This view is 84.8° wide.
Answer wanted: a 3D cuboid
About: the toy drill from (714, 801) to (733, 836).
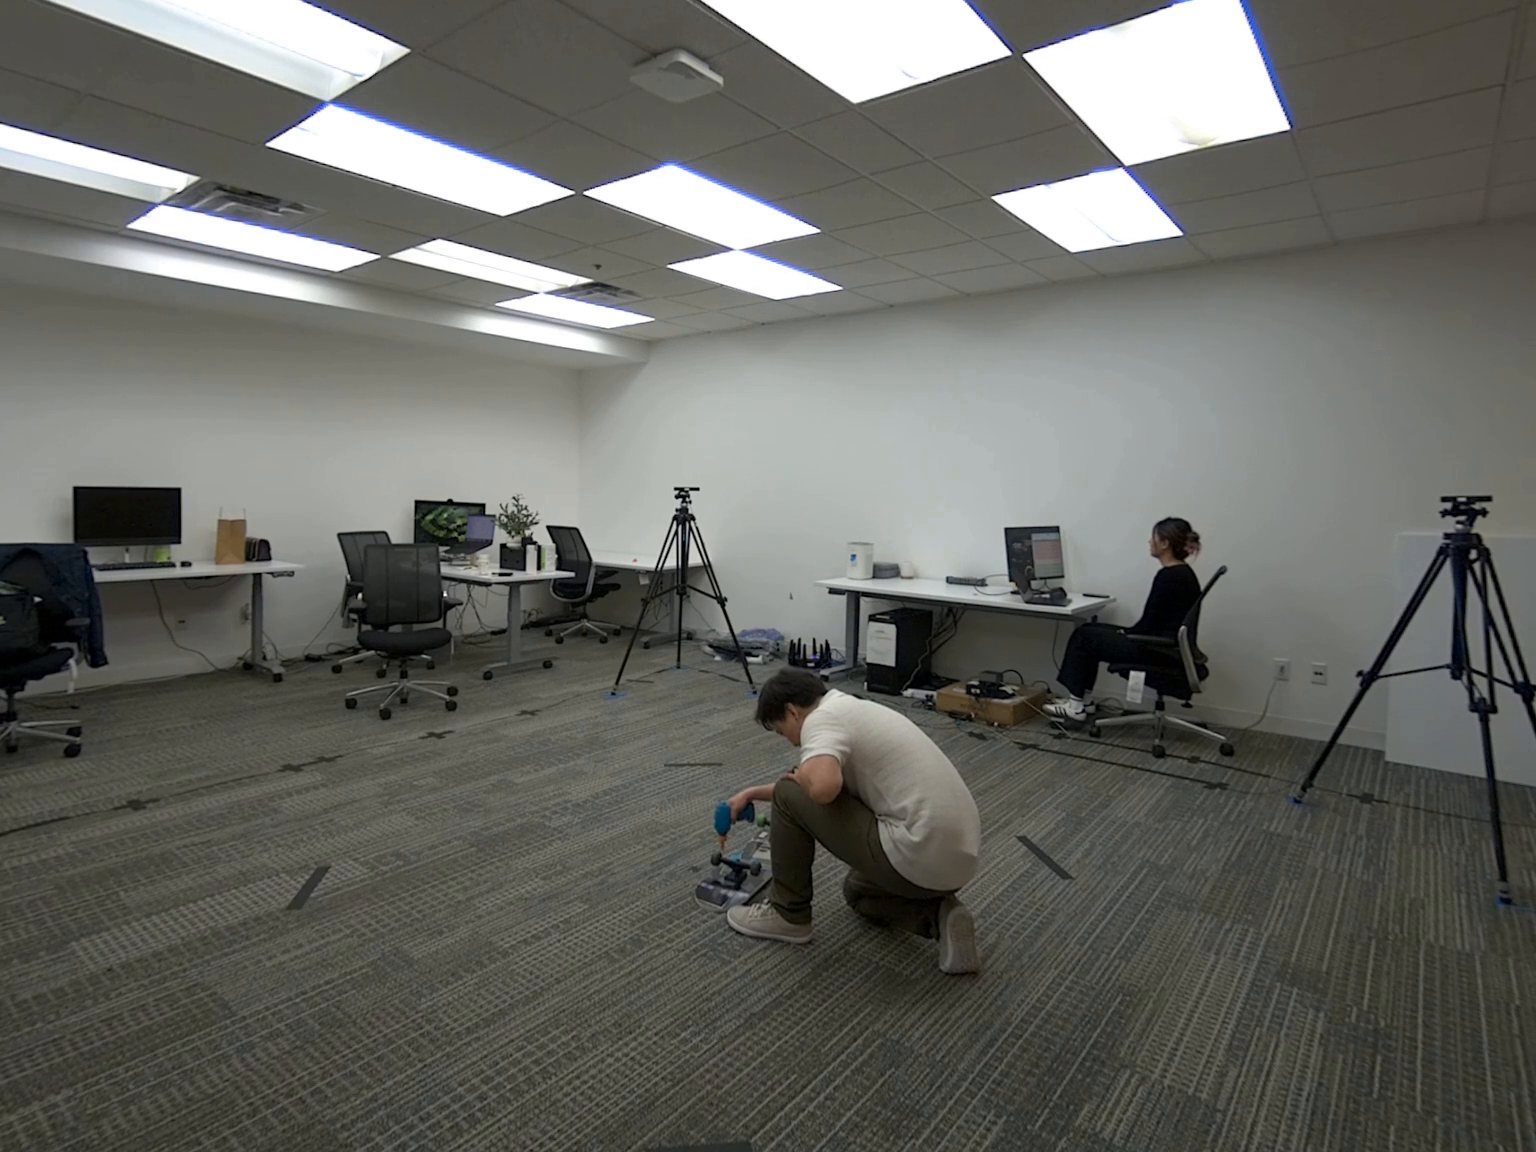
[{"bbox_3d":[-0.125,0.866,2.970,0.143,0.171,0.062,-2,-7,-19],"label":"toy drill"}]
